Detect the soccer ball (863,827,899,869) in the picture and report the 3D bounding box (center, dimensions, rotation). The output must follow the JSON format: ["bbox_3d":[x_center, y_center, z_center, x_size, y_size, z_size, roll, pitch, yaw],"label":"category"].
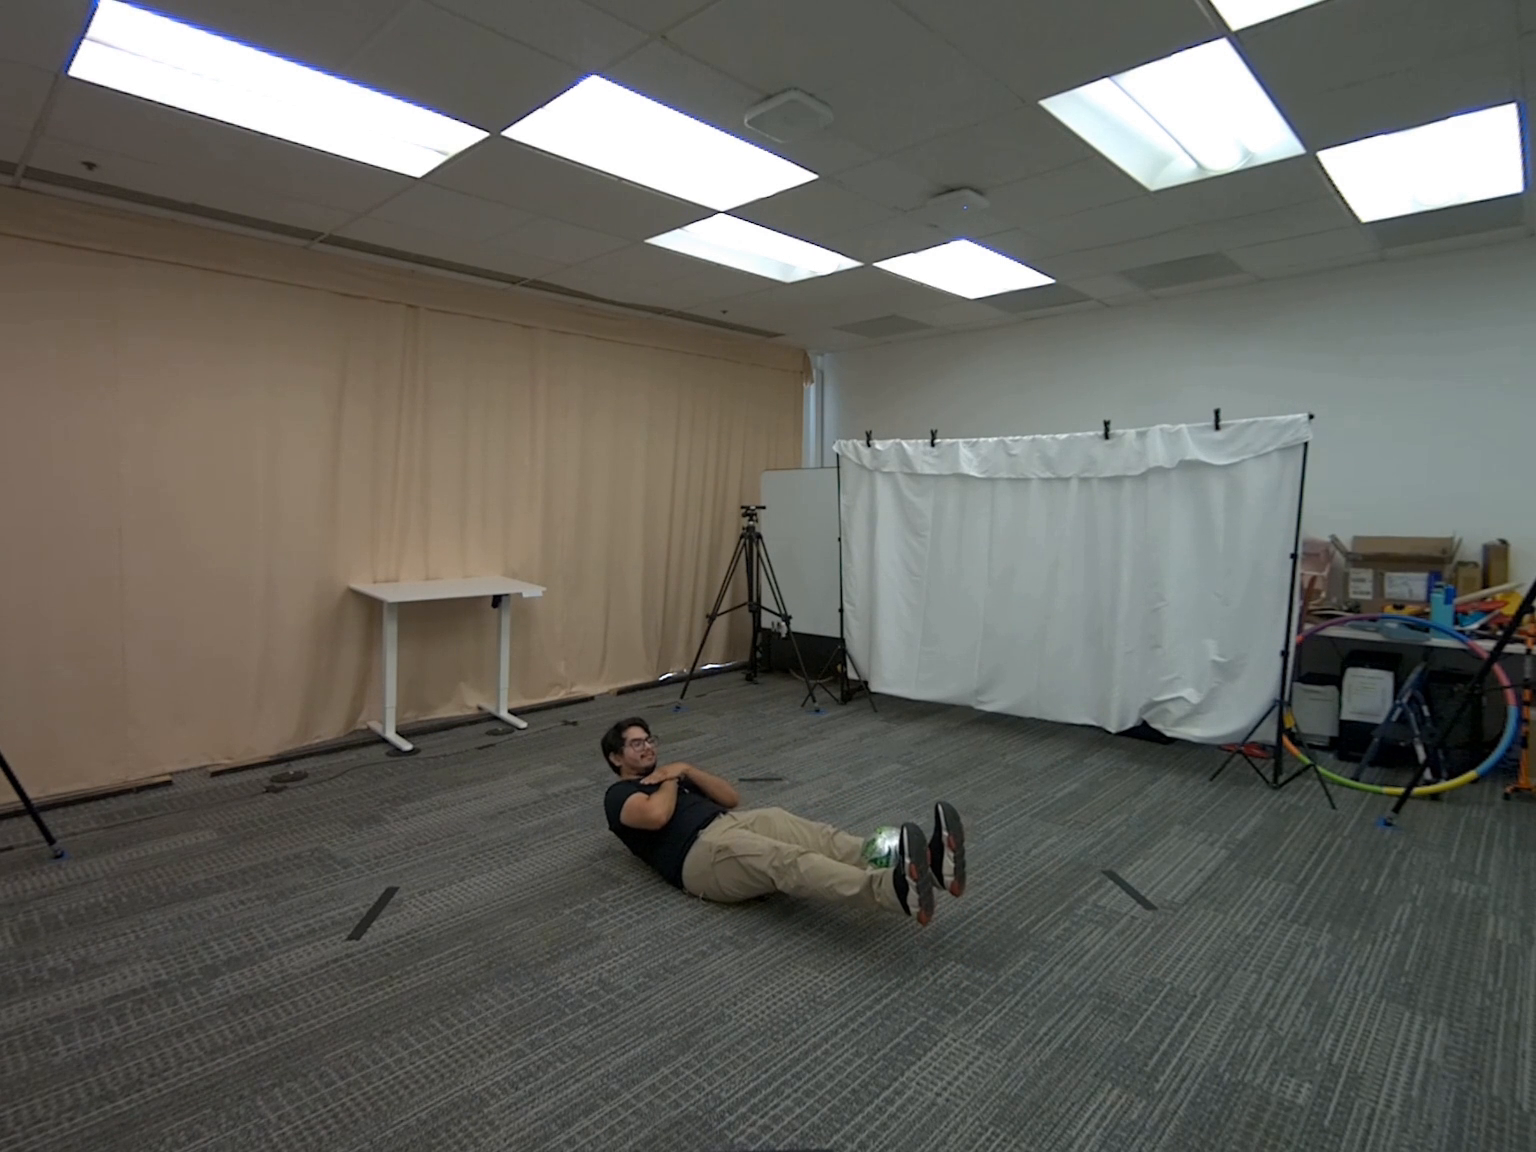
[{"bbox_3d":[0.395,0.895,2.658,0.187,0.187,0.188,0,4,-2],"label":"soccer ball"}]
